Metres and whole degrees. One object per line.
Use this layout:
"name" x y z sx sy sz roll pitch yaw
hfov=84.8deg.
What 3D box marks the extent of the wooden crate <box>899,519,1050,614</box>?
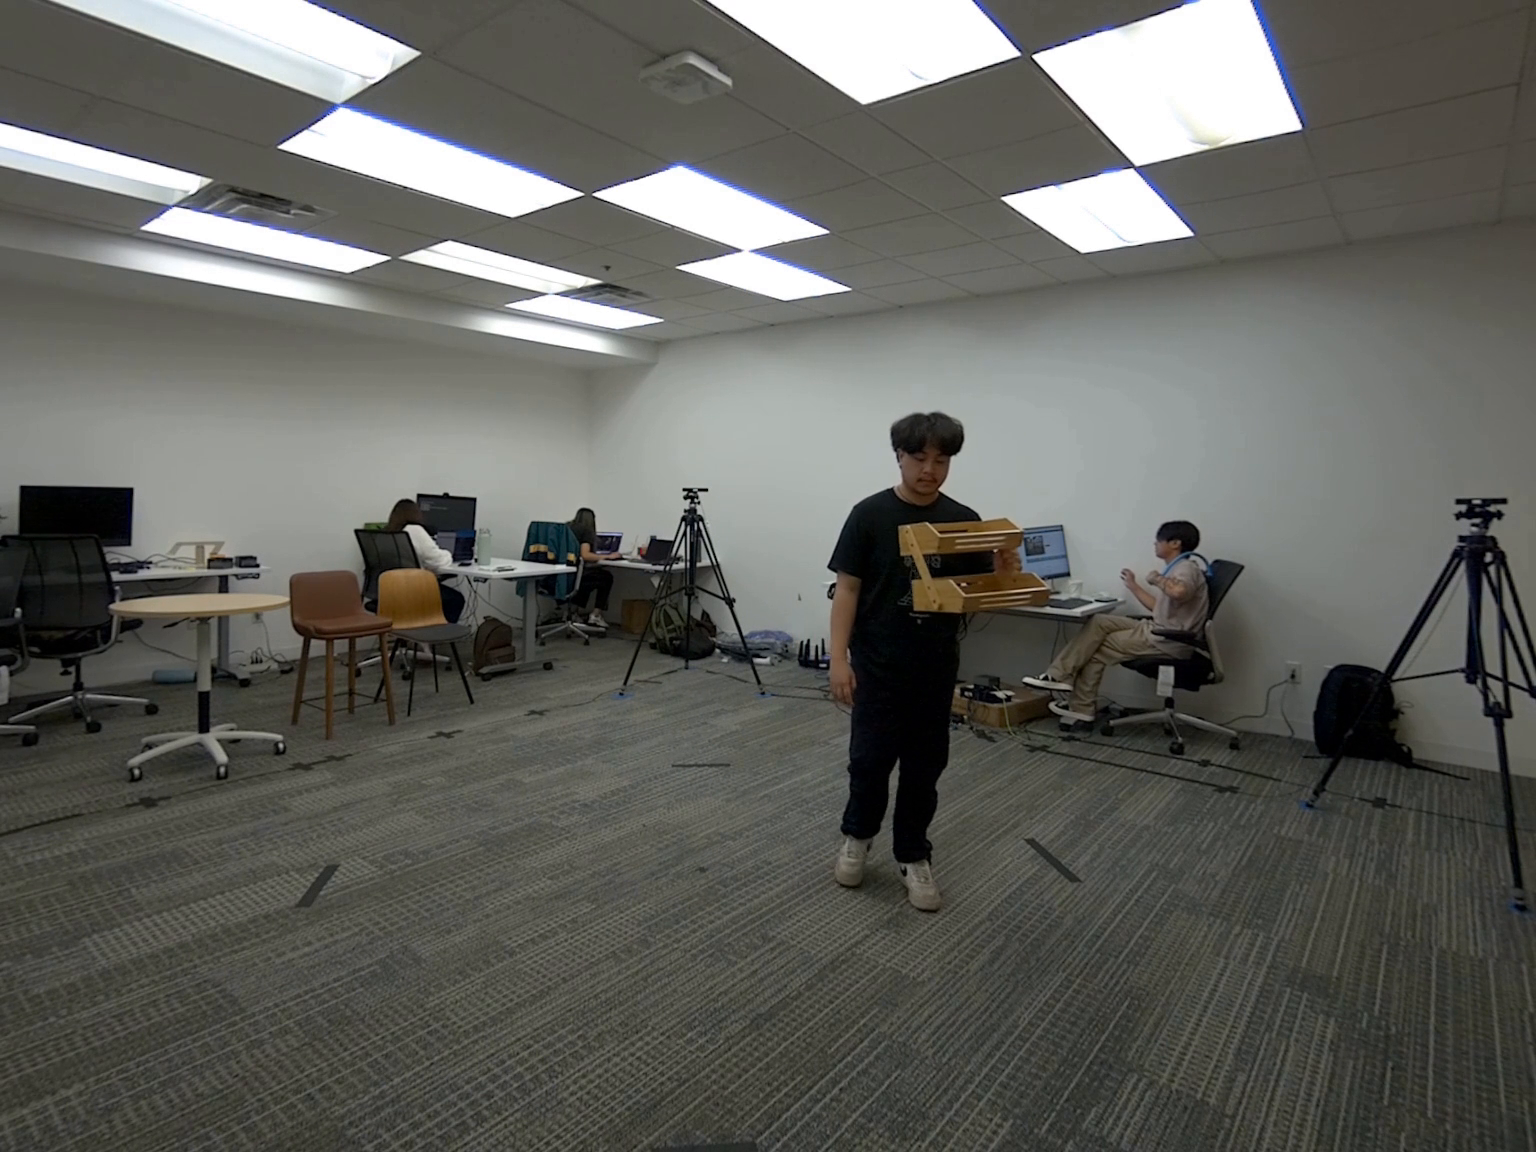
"wooden crate" 0.608 -0.044 2.537 0.318 0.274 0.308 -4 -1 -23
